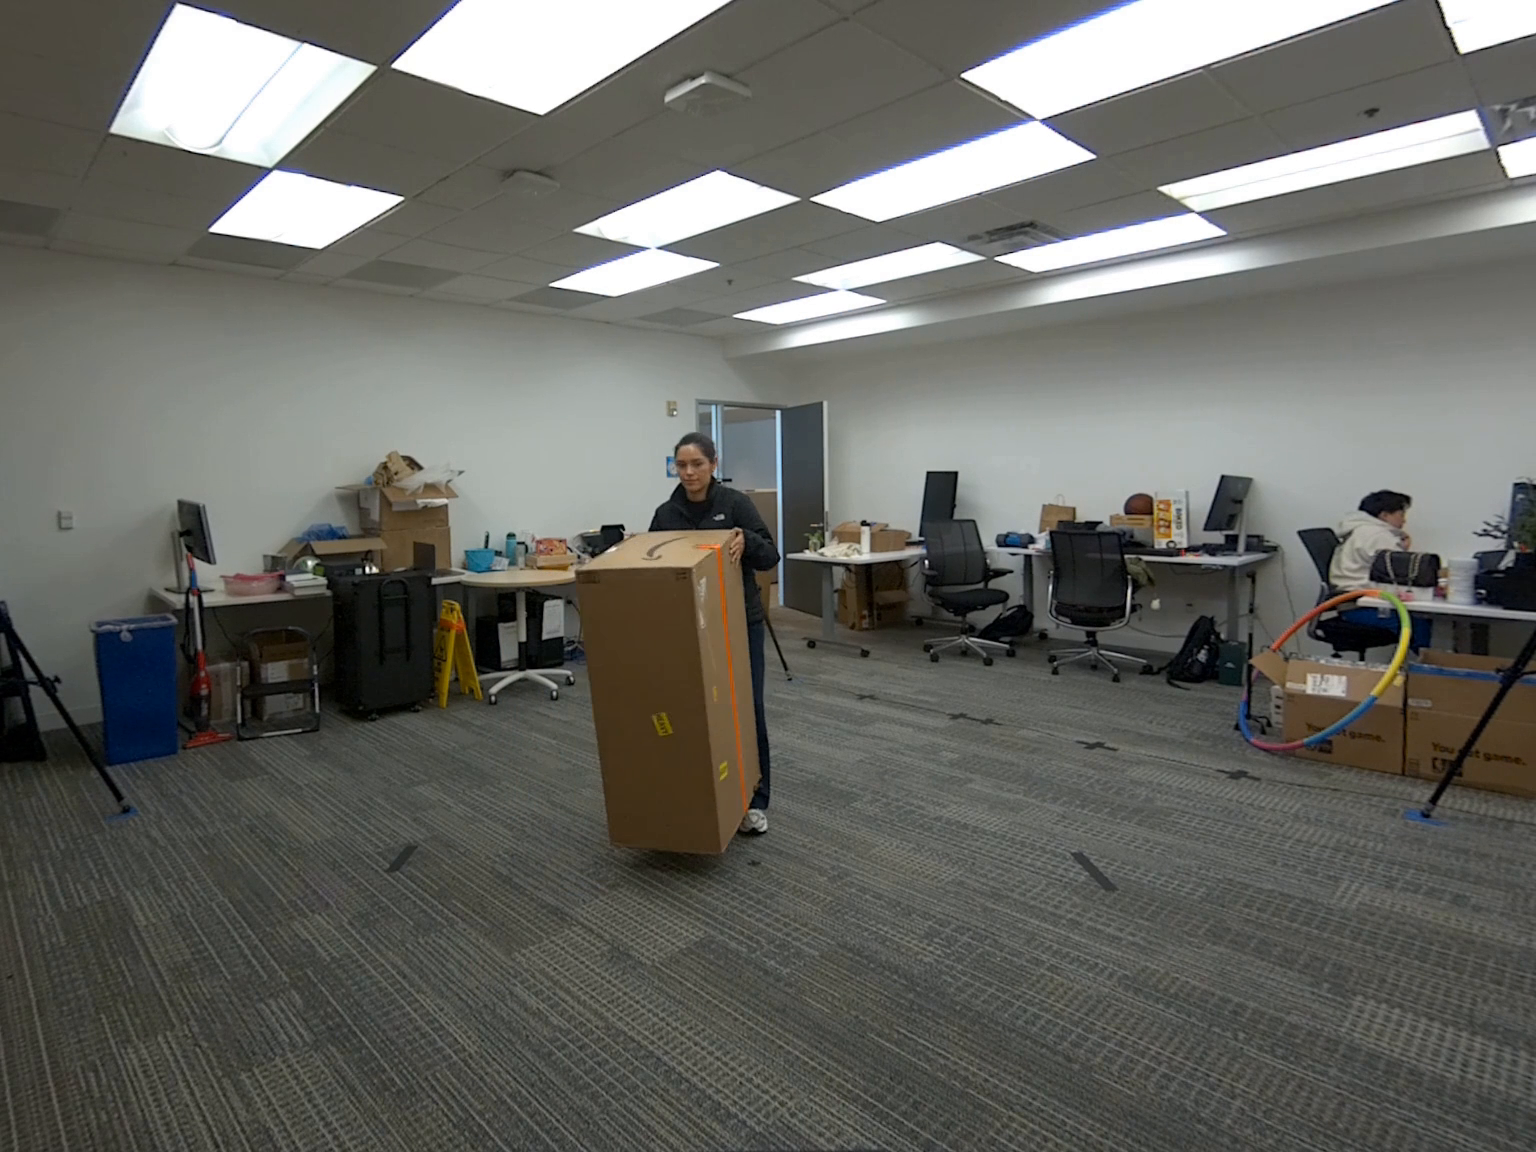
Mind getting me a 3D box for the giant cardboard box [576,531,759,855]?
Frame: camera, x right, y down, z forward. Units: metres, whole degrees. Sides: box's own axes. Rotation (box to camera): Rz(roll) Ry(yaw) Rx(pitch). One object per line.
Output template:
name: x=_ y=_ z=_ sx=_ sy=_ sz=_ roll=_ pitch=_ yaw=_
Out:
giant cardboard box: x=-0.342 y=0.400 z=3.168 sx=0.433 sy=1.015 sz=0.575 roll=-2 pitch=12 yaw=16
